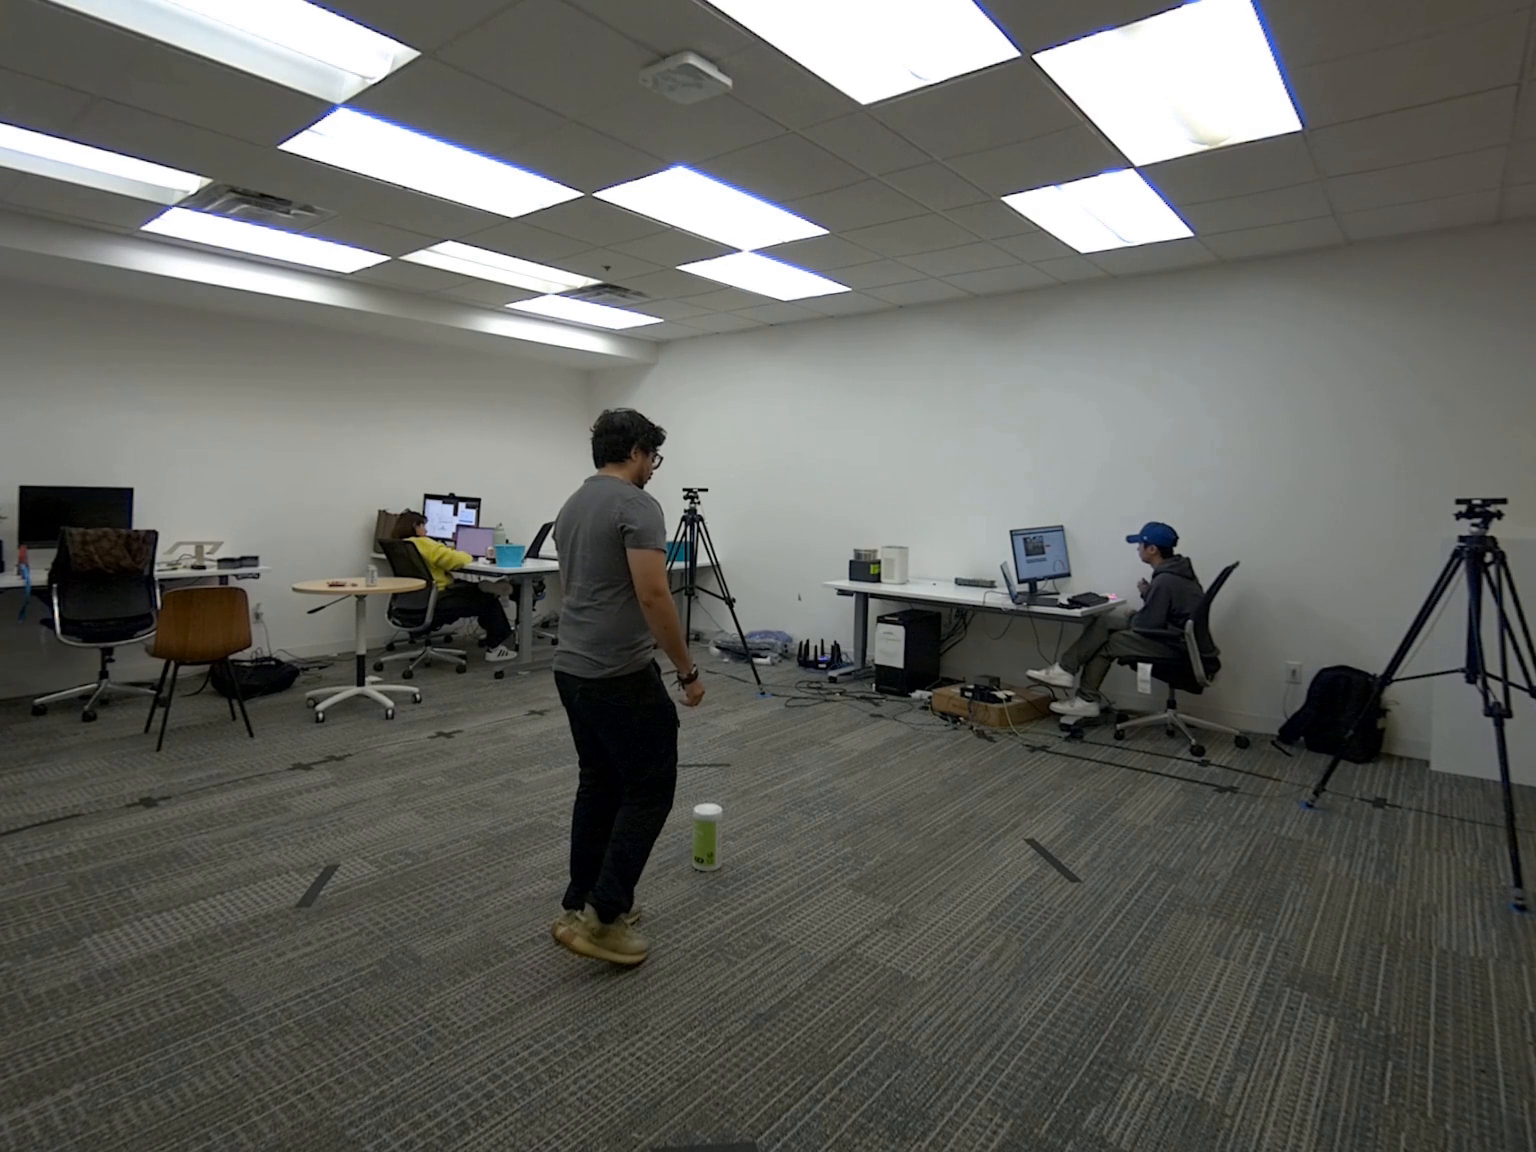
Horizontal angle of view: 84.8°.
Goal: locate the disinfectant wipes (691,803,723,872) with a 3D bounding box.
[{"bbox_3d":[-0.231,0.959,3.140,0.118,0.217,0.118,1,3,-2],"label":"disinfectant wipes"}]
